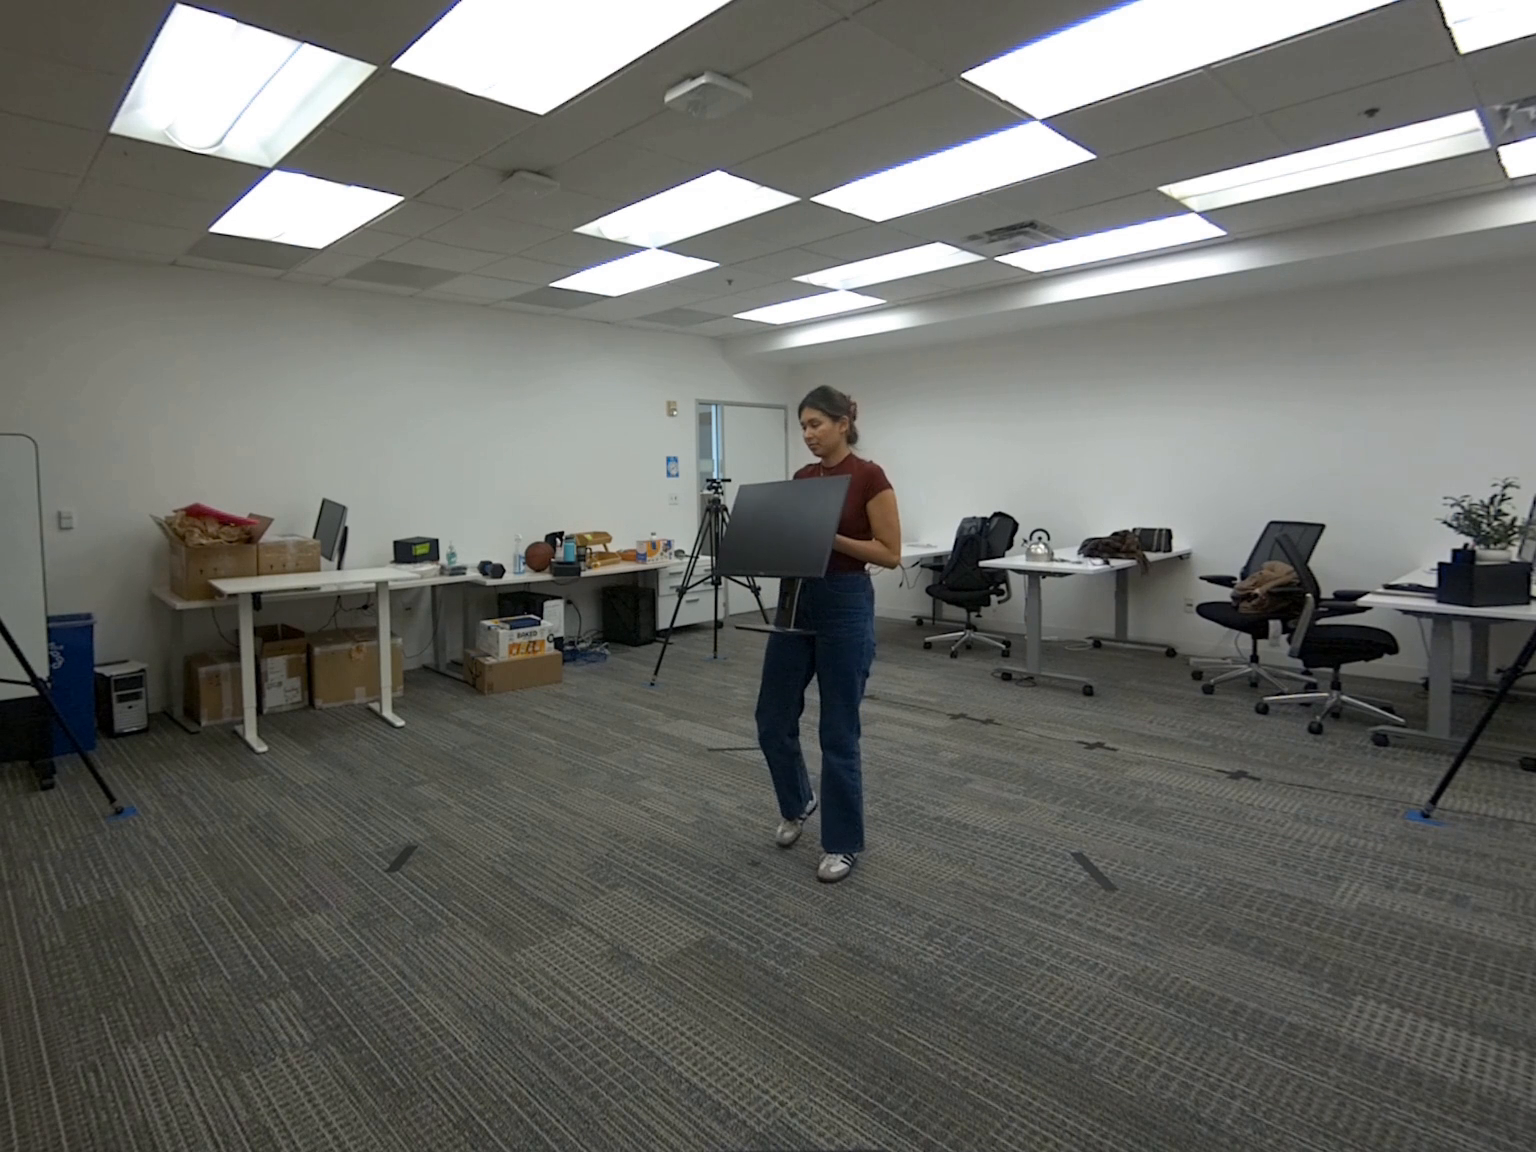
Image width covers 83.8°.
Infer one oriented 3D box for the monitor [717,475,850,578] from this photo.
[{"bbox_3d":[0.047,-0.067,2.873,0.181,0.525,0.554,12,-8,-42],"label":"monitor"}]
